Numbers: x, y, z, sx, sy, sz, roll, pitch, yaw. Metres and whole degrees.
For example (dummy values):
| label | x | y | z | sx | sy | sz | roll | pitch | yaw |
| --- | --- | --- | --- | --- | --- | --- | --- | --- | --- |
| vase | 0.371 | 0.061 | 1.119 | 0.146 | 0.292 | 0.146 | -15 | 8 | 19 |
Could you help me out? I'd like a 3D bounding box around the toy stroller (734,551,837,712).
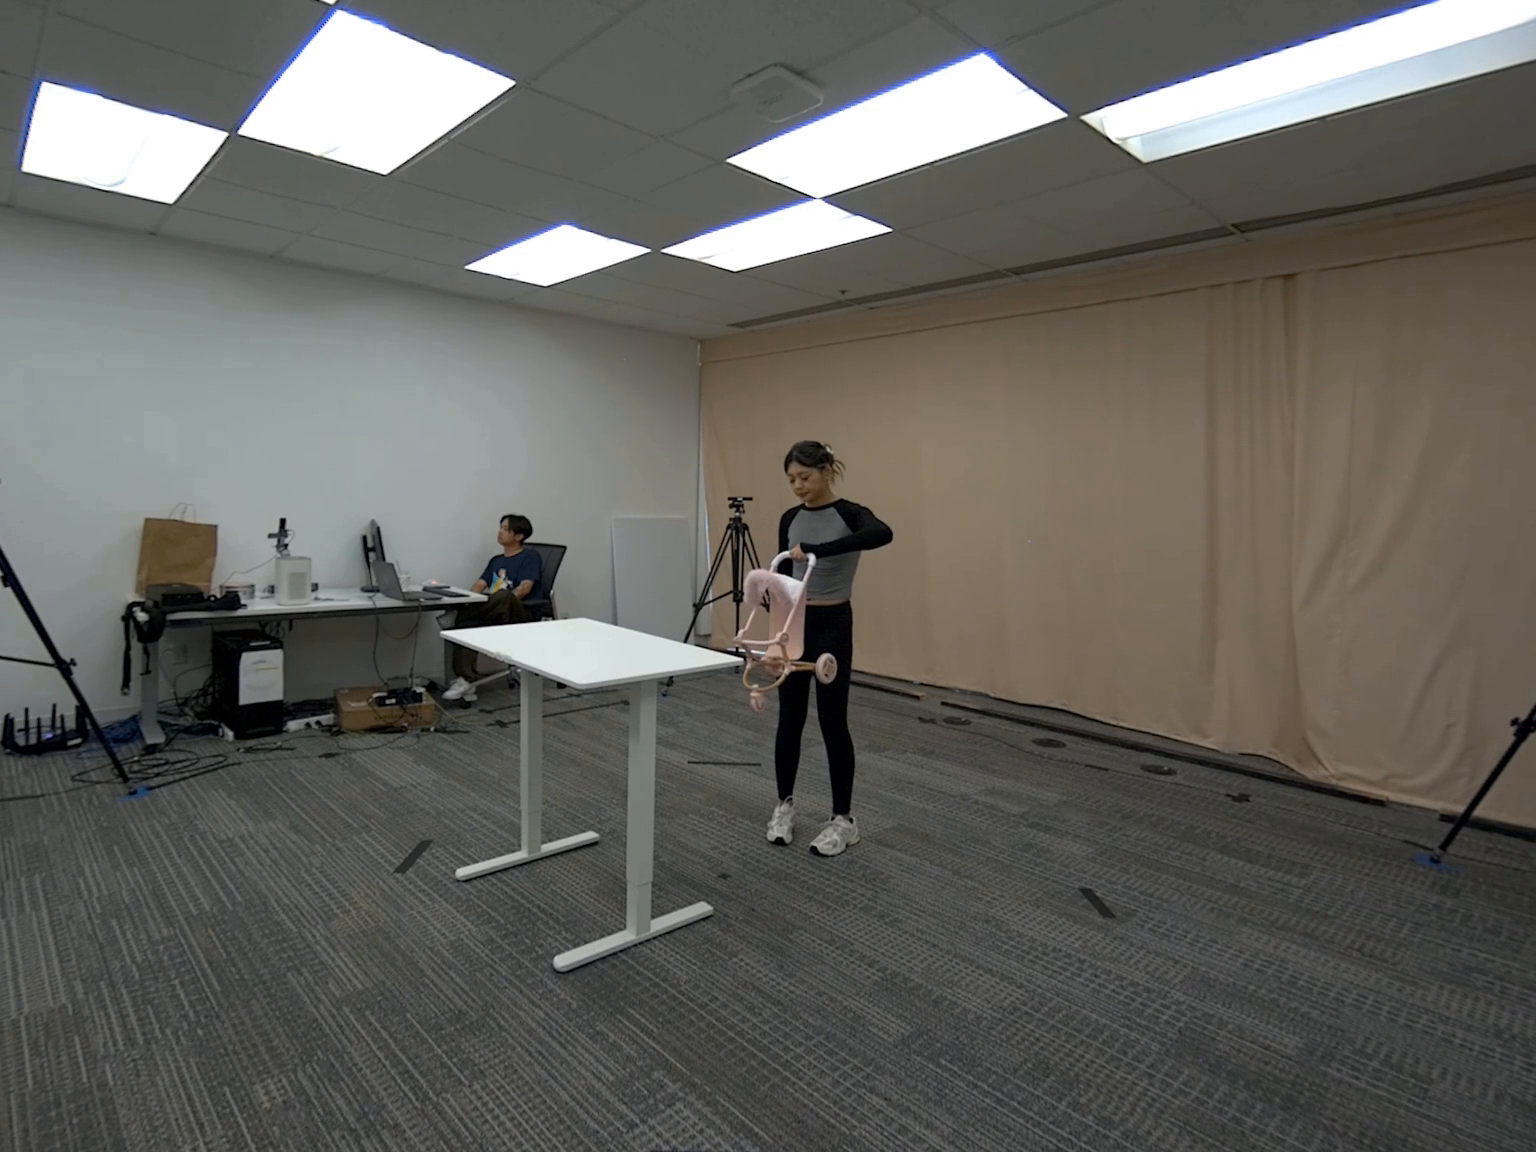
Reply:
| label | x | y | z | sx | sy | sz | roll | pitch | yaw |
| --- | --- | --- | --- | --- | --- | --- | --- | --- | --- |
| toy stroller | 0.020 | 0.202 | 3.057 | 0.335 | 0.532 | 0.288 | -12 | 9 | -40 |
